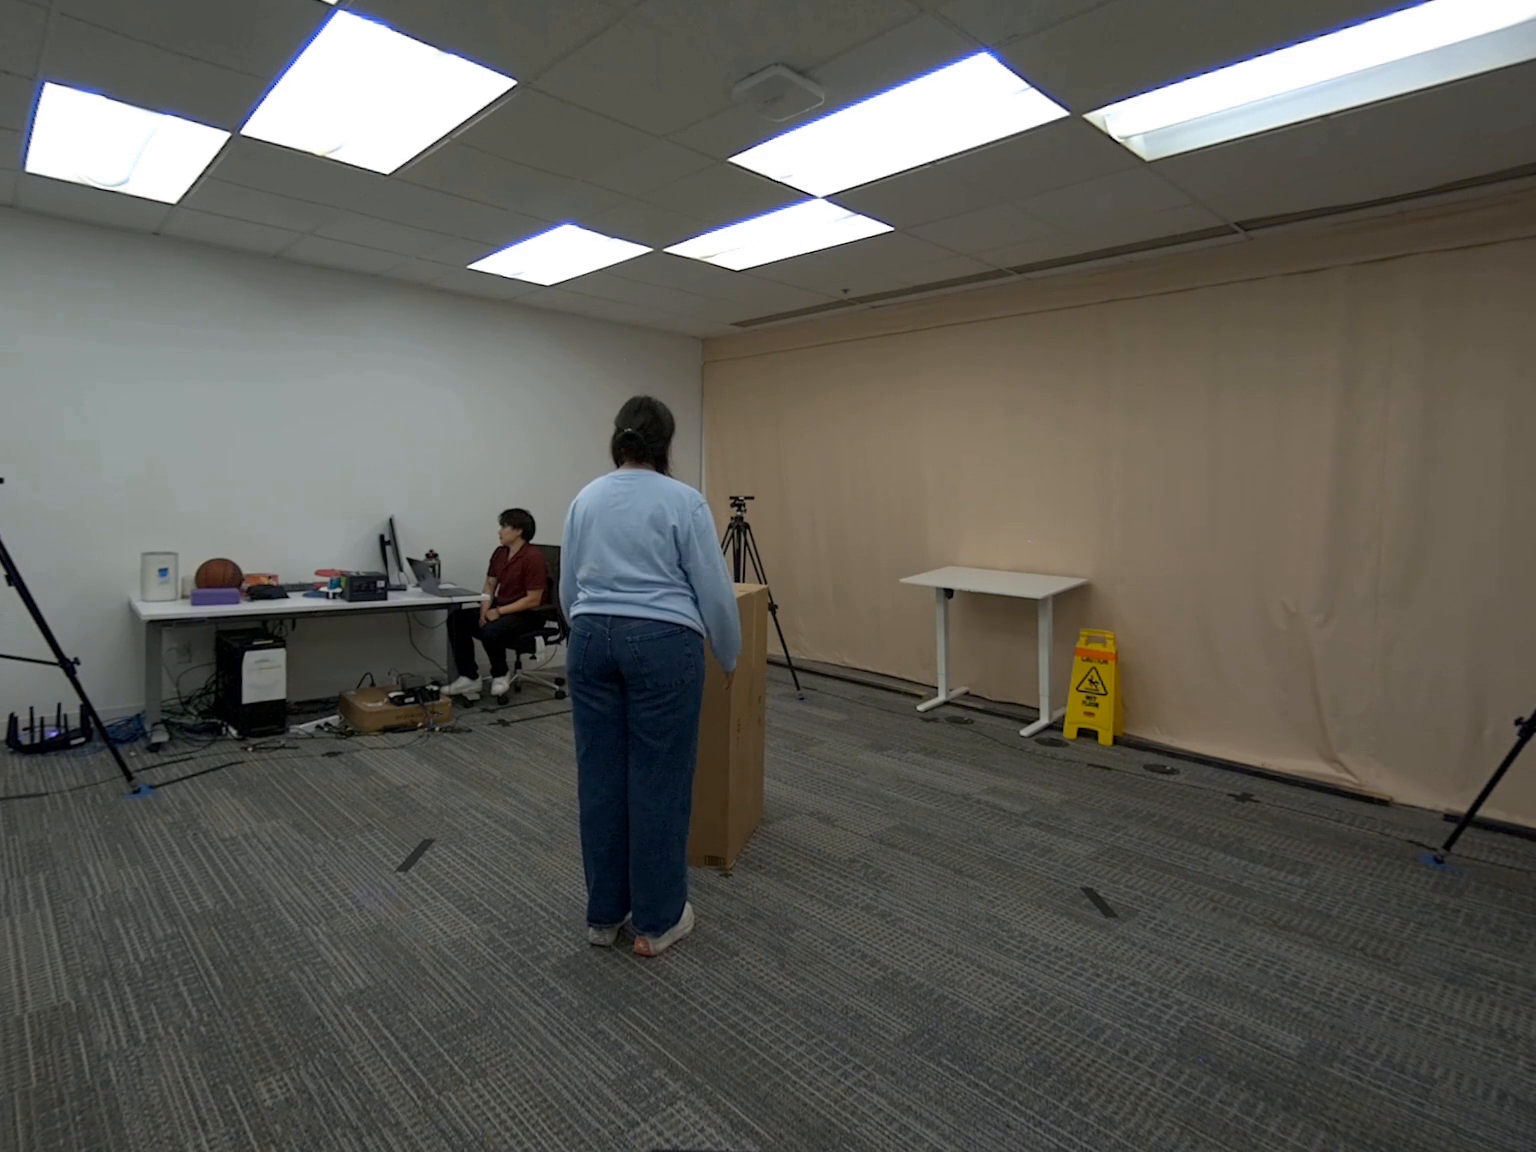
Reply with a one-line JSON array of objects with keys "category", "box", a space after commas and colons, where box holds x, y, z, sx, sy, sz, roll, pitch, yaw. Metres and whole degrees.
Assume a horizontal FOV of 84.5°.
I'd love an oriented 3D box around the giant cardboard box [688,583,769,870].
[{"category": "giant cardboard box", "box": [-0.280, 0.565, 3.441, 0.431, 1.023, 0.572, 2, 3, 13]}]
